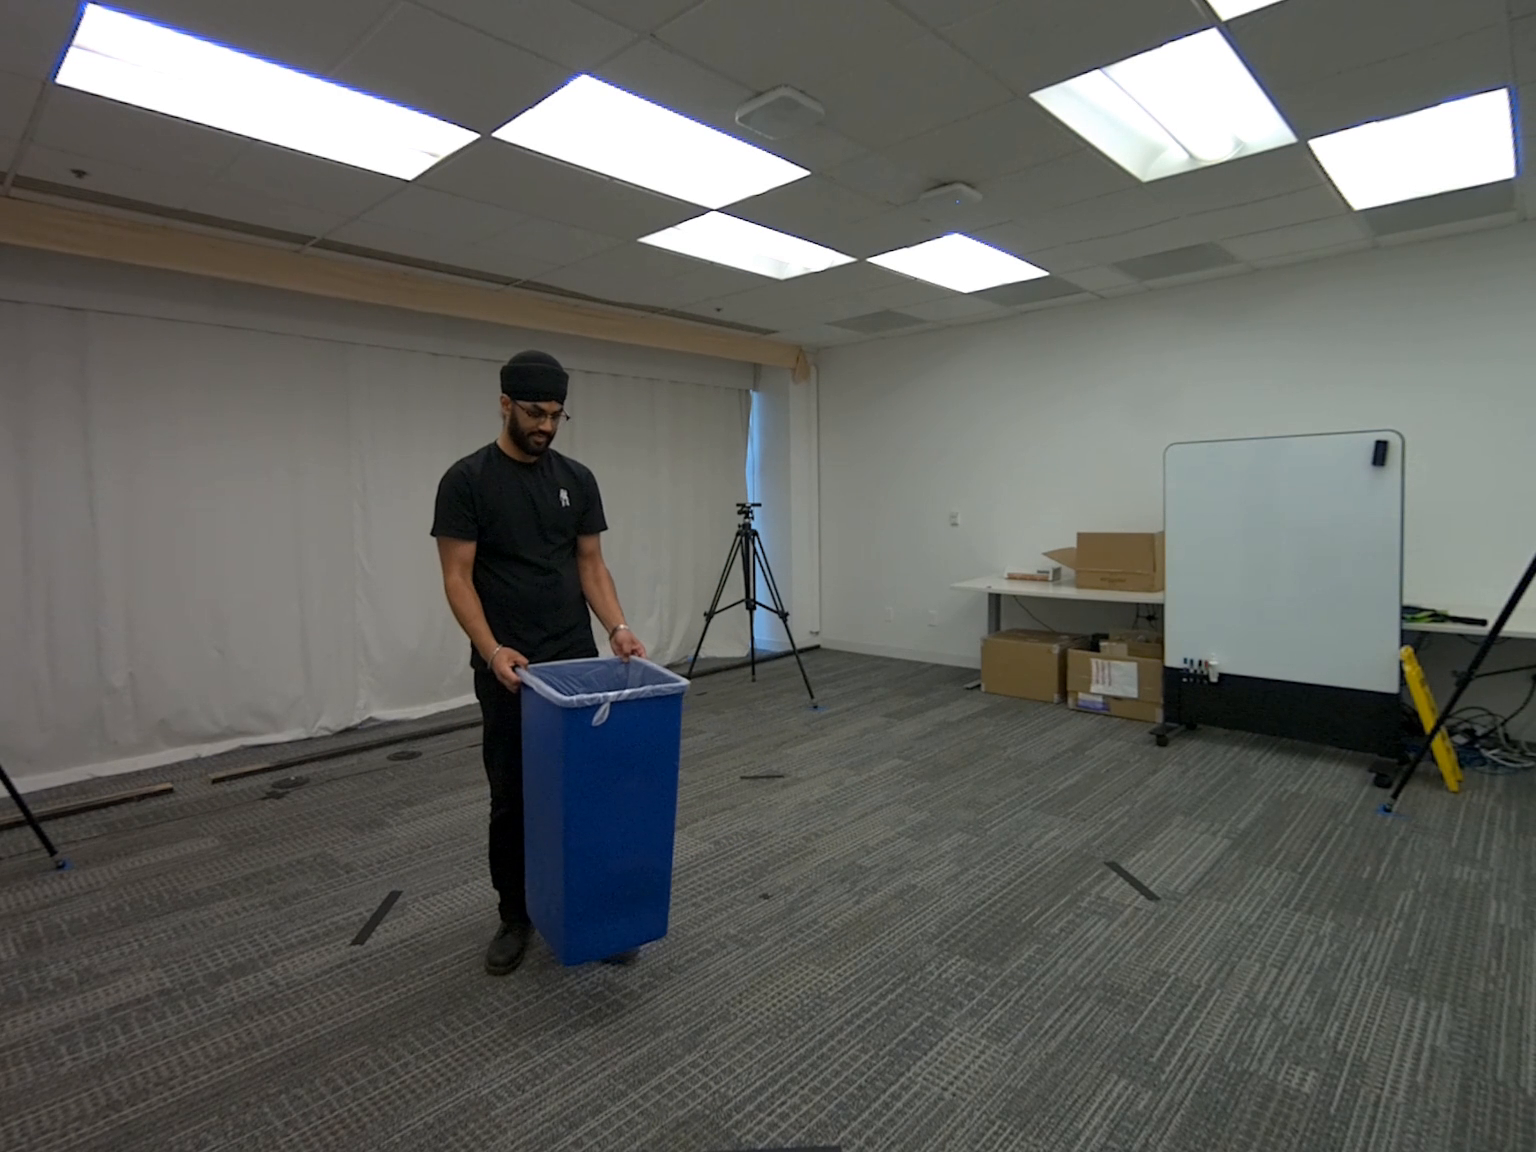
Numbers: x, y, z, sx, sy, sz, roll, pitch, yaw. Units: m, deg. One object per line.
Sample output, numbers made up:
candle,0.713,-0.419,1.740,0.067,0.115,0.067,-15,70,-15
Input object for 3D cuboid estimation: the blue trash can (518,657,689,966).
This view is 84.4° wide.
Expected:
blue trash can,-0.462,0.622,2.298,0.367,0.711,0.386,-1,8,-34
